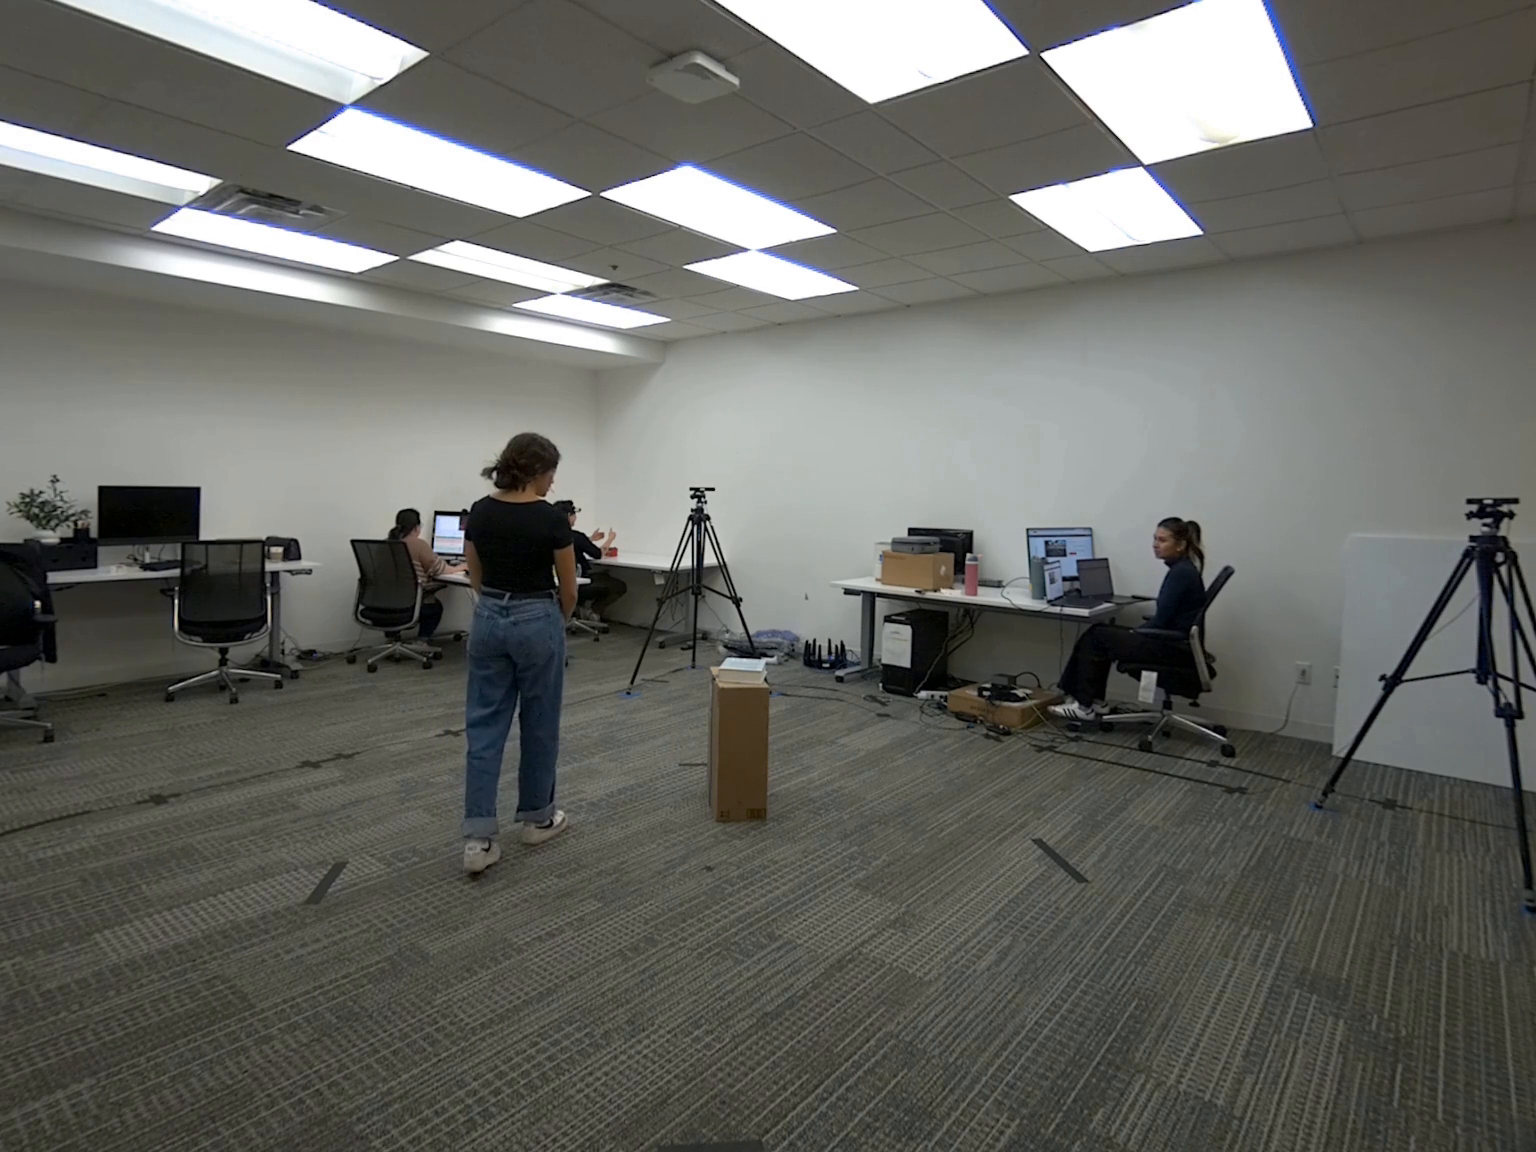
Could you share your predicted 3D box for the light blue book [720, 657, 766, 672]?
[{"bbox_3d":[-0.125,0.417,3.766,0.193,0.059,0.260,3,5,5],"label":"light blue book"}]
